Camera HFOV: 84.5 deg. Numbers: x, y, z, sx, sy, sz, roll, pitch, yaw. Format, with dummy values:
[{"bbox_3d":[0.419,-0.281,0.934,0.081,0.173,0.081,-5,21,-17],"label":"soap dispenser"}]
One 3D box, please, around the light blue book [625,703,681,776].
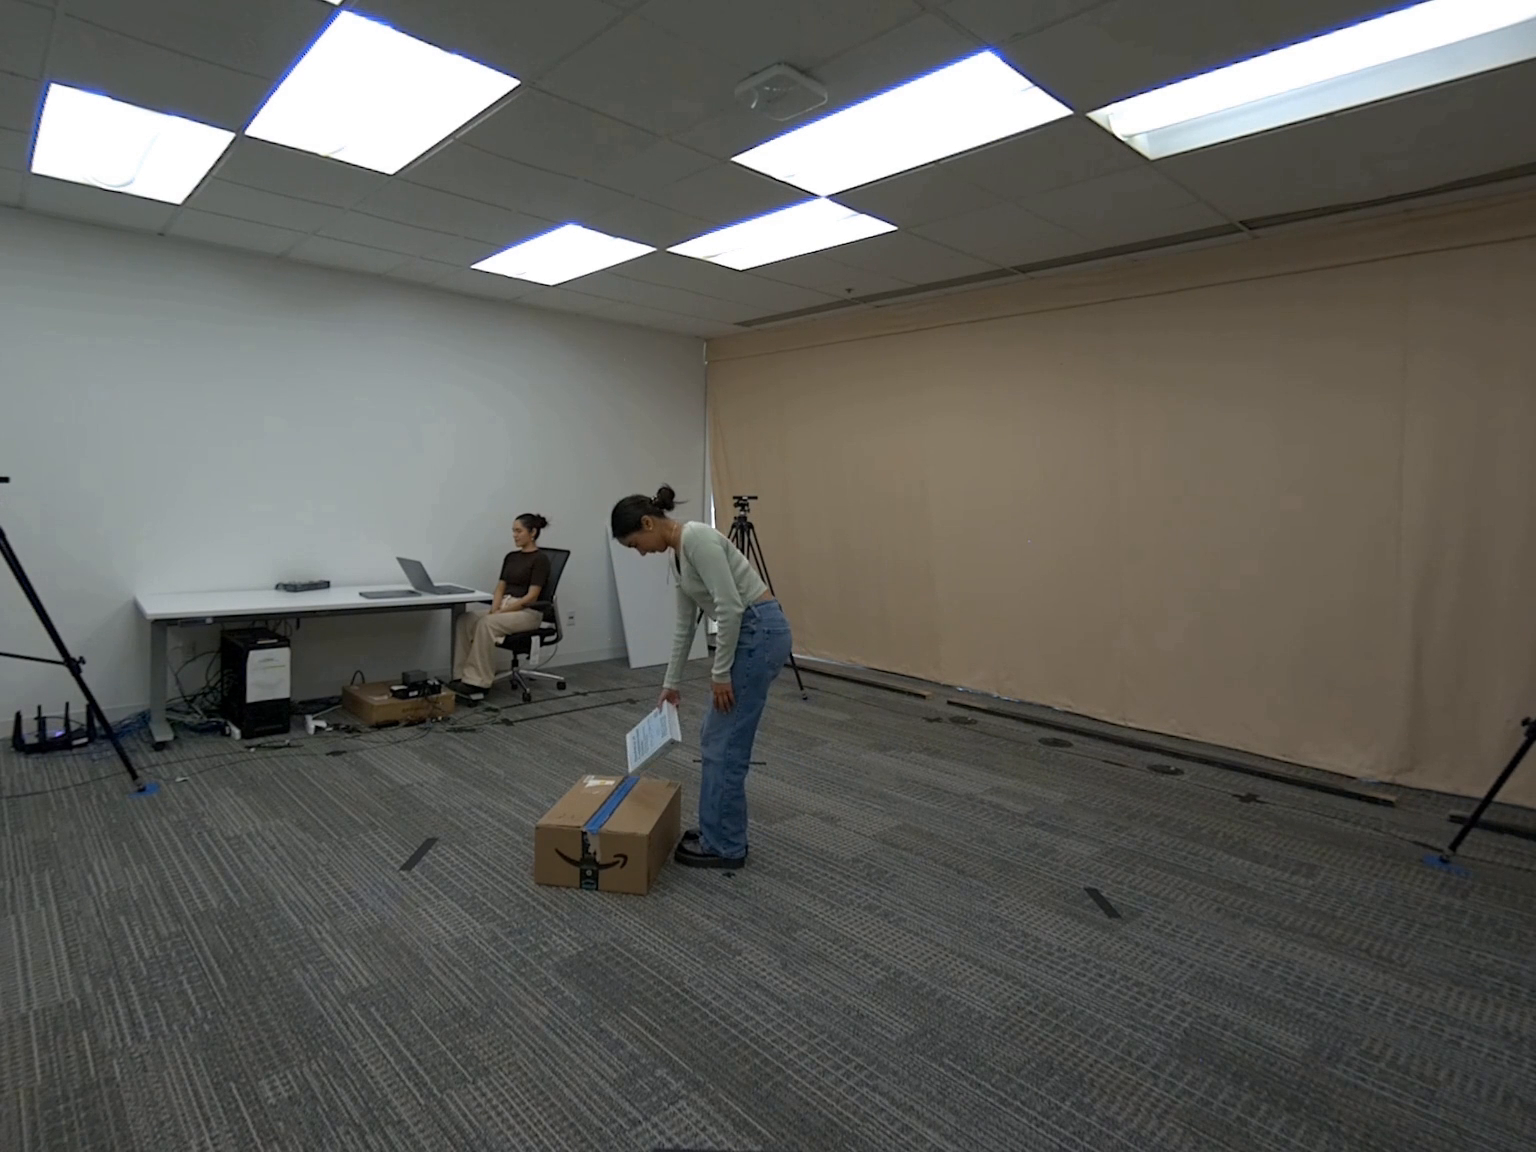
[{"bbox_3d":[-0.453,0.643,3.335,0.057,0.261,0.196,30,28,-33],"label":"light blue book"}]
